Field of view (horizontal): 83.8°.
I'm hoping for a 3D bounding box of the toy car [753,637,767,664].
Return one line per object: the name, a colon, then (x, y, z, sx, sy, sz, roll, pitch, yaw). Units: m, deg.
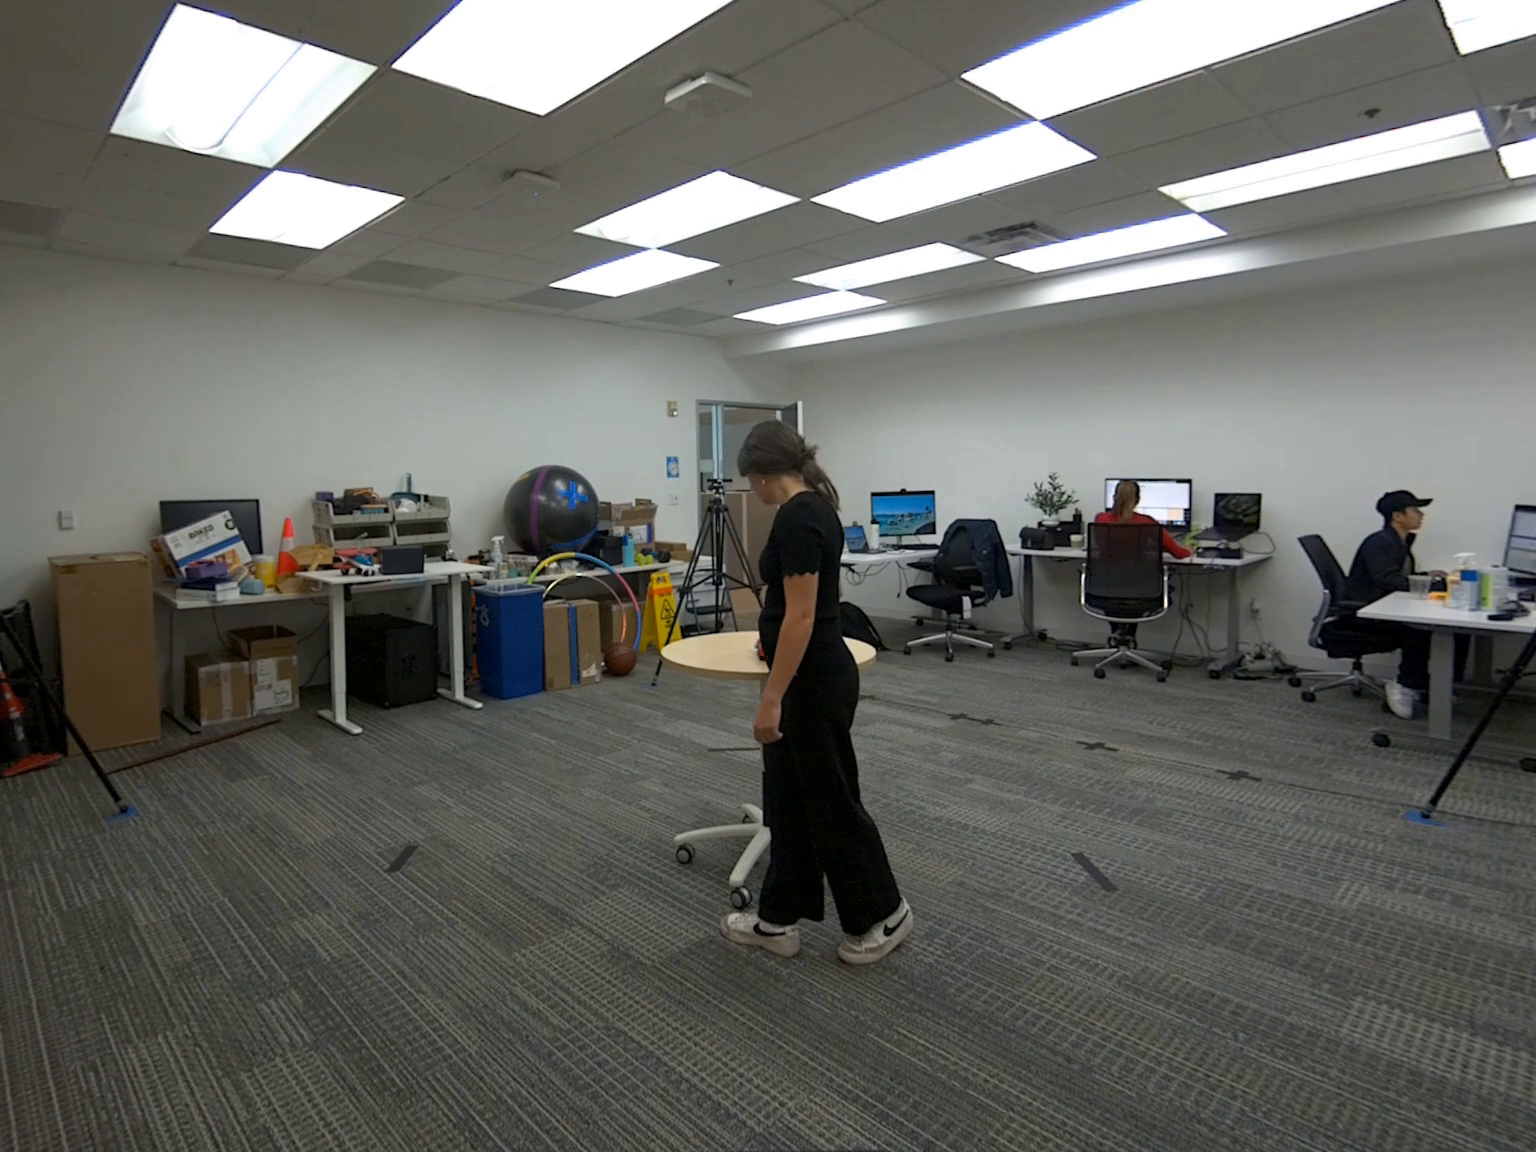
toy car: (0.026, 0.245, 2.929, 0.130, 0.084, 0.252, 0, -7, -1)
